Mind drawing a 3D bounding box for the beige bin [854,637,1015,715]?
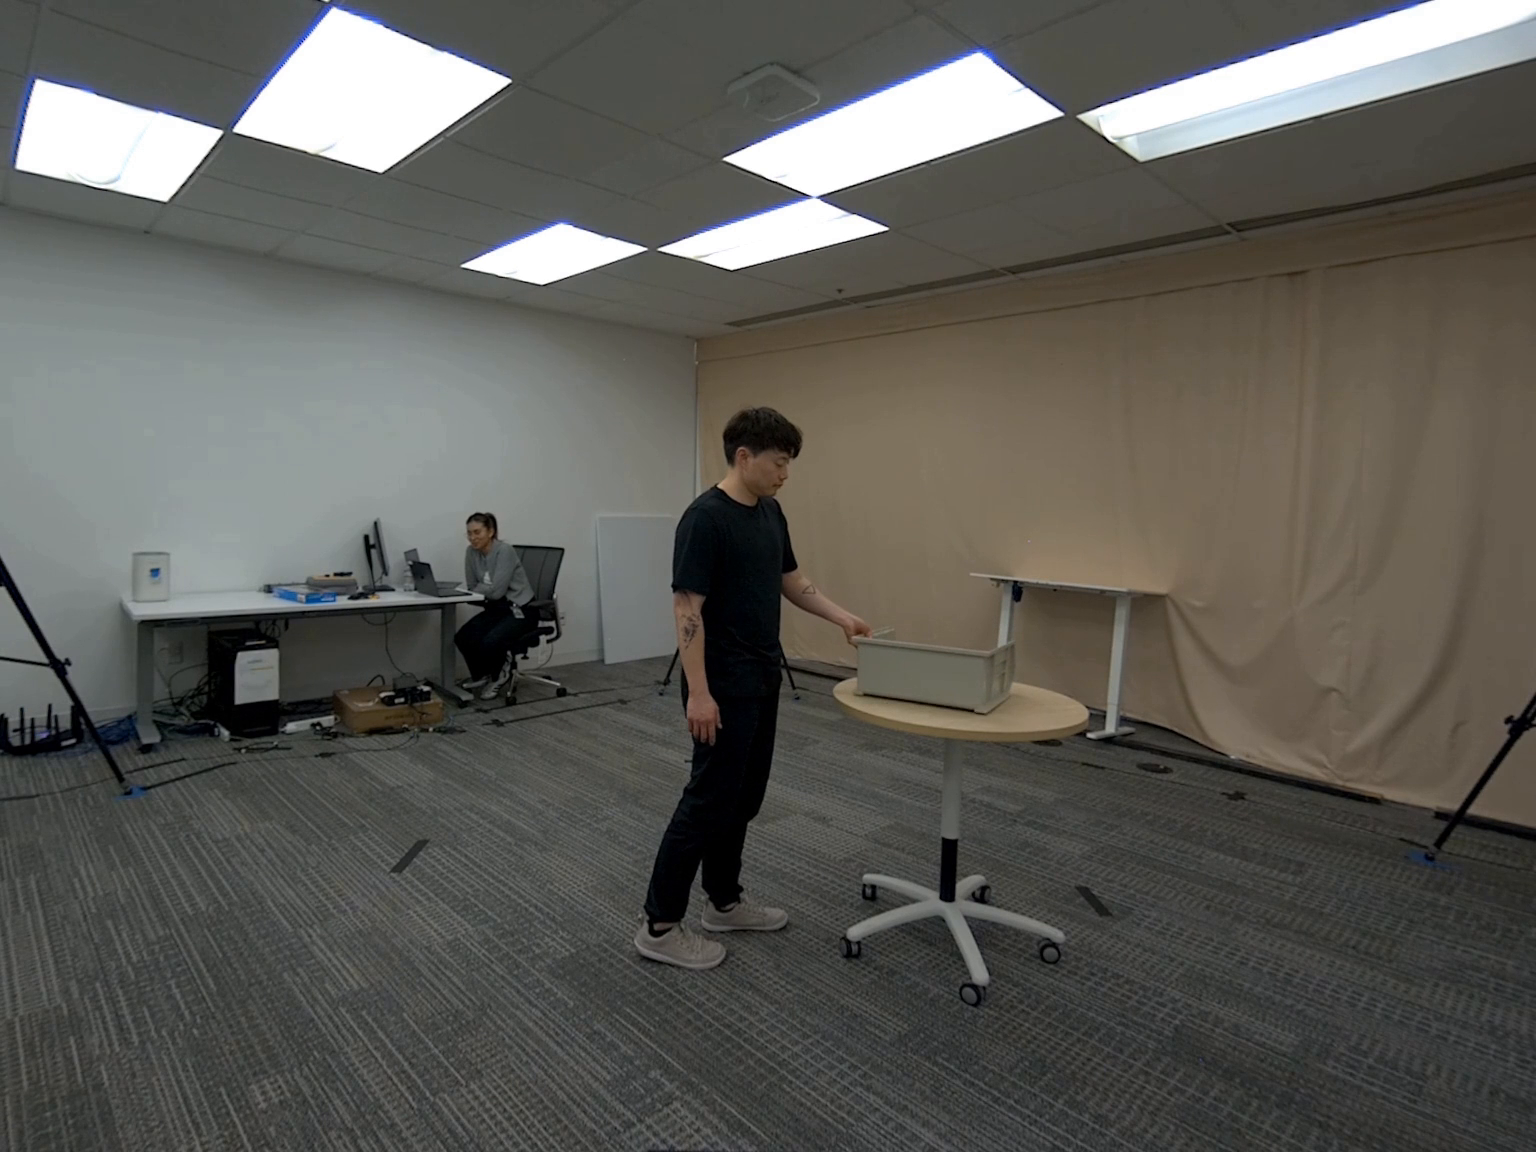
[{"bbox_3d":[0.528,0.284,2.662,0.431,0.188,0.371,5,7,29],"label":"beige bin"}]
